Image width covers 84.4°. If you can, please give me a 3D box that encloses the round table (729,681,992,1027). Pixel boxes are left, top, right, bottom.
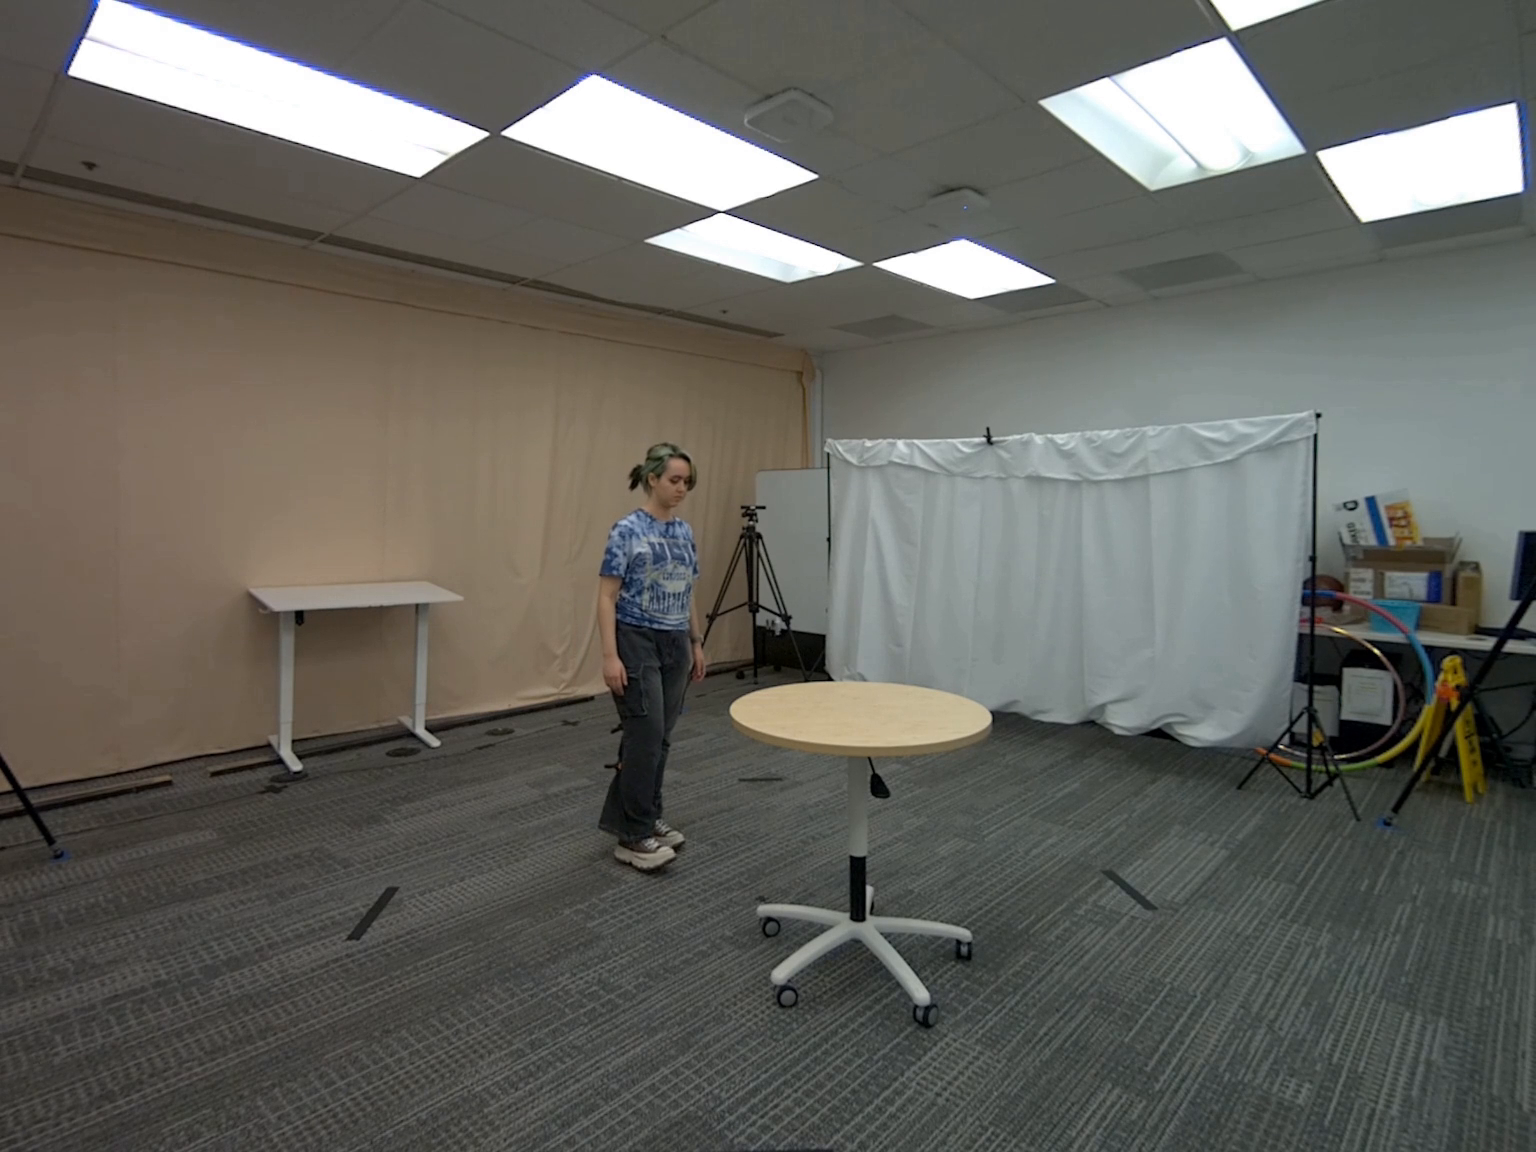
[{"bbox_3d":[0.278,0.792,2.537,0.763,0.792,0.767,0,4,-2],"label":"round table"}]
